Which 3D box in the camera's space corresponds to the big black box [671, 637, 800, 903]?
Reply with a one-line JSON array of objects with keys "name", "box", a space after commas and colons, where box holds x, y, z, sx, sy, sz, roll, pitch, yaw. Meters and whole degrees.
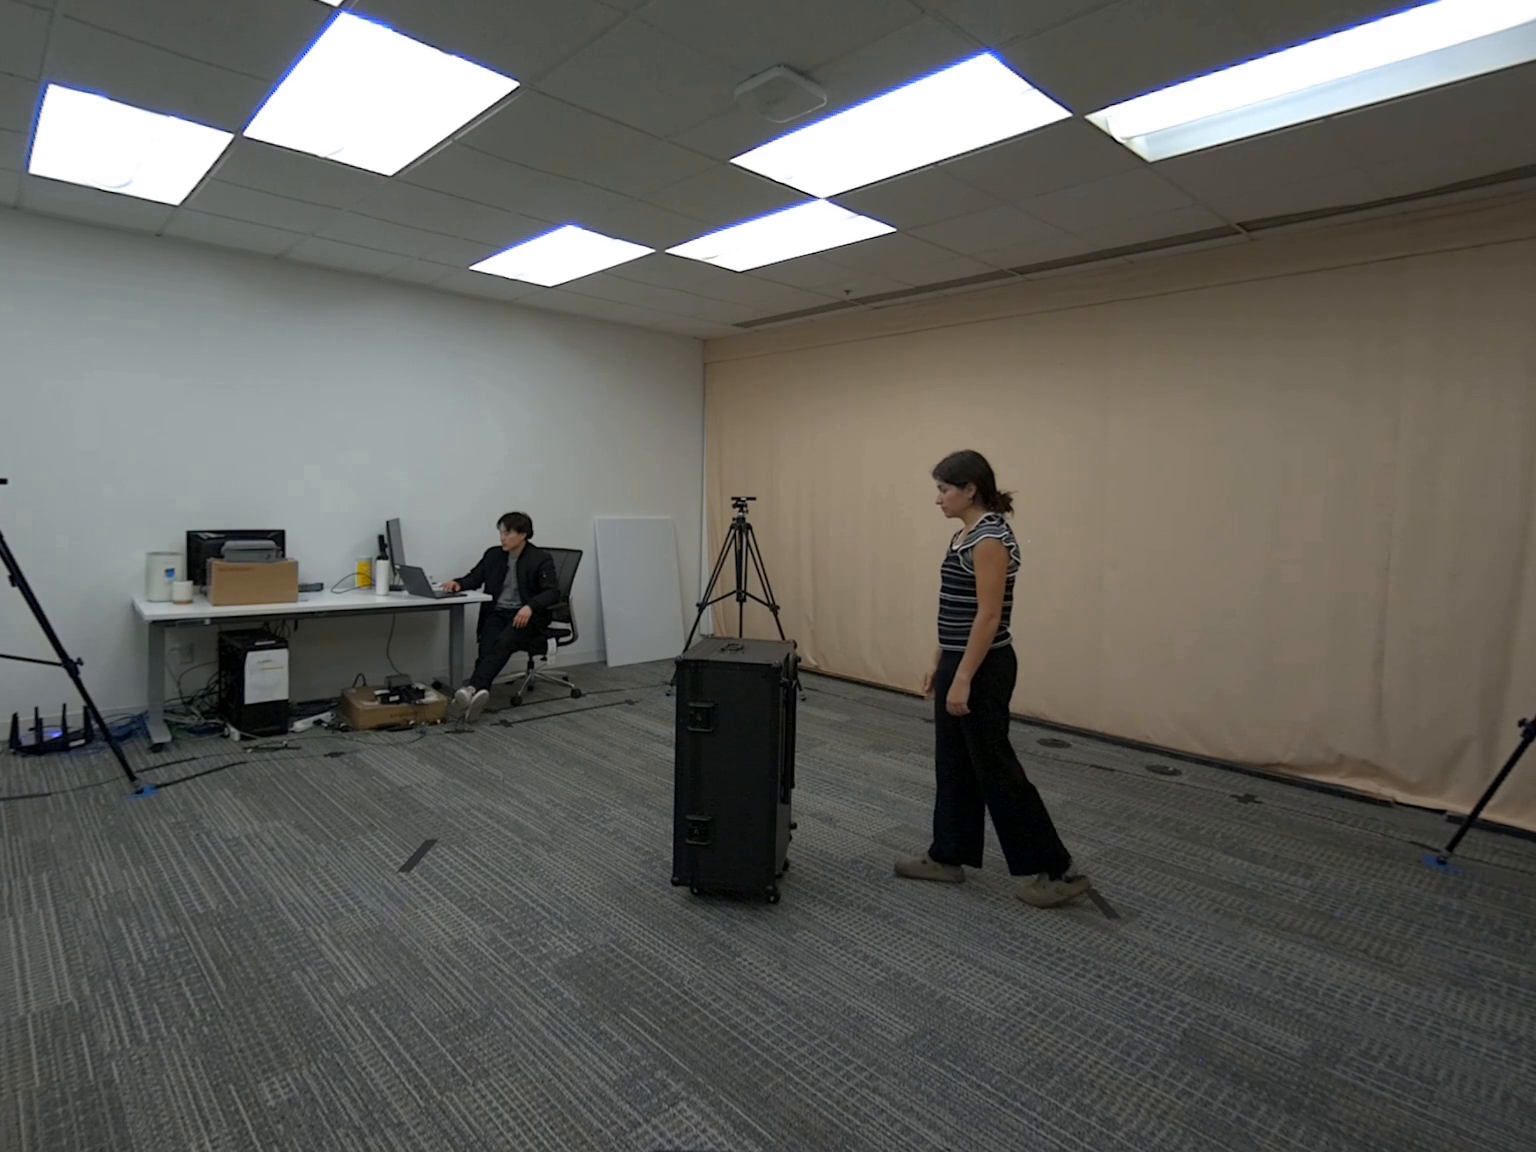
[{"name": "big black box", "box": [-0.102, 0.683, 3.049, 0.400, 0.860, 0.518, 2, 3, 10]}]
